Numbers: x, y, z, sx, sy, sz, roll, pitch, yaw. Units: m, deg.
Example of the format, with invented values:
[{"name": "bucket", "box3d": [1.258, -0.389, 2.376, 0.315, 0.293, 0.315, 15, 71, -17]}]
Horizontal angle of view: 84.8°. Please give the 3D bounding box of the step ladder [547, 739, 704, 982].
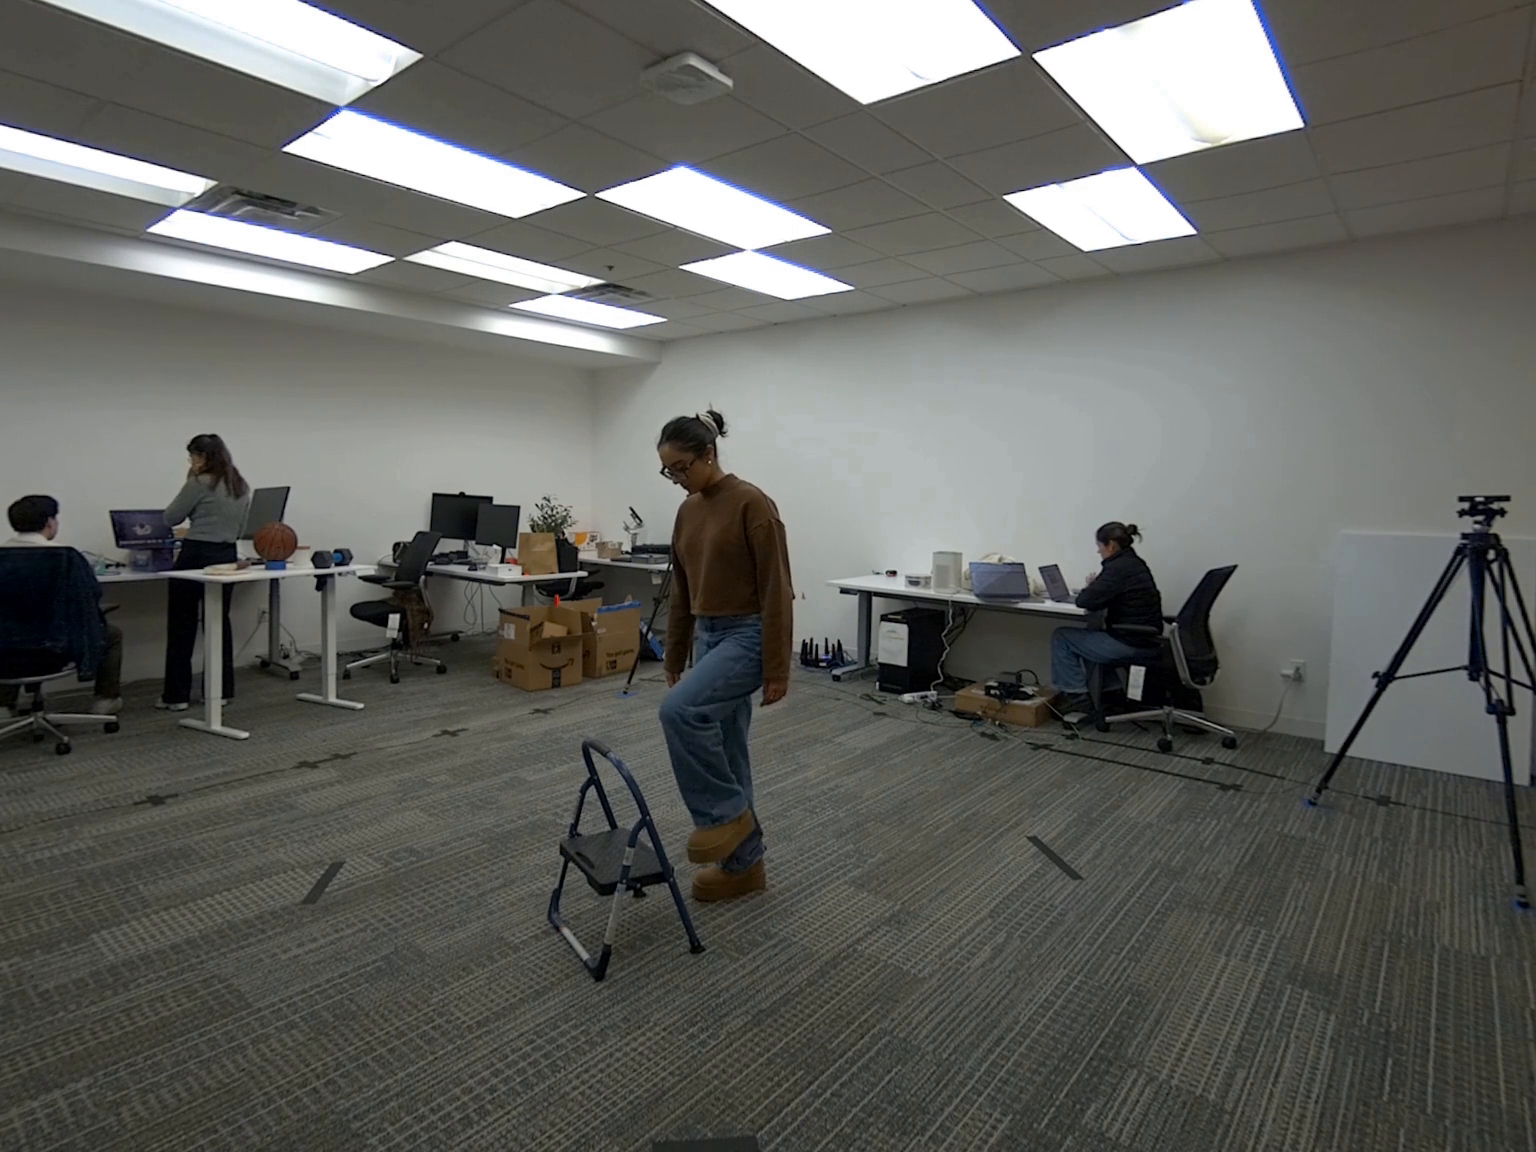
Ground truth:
[{"name": "step ladder", "box3d": [-0.457, 0.805, 2.623, 0.339, 0.604, 0.444, -1, 5, -34]}]
